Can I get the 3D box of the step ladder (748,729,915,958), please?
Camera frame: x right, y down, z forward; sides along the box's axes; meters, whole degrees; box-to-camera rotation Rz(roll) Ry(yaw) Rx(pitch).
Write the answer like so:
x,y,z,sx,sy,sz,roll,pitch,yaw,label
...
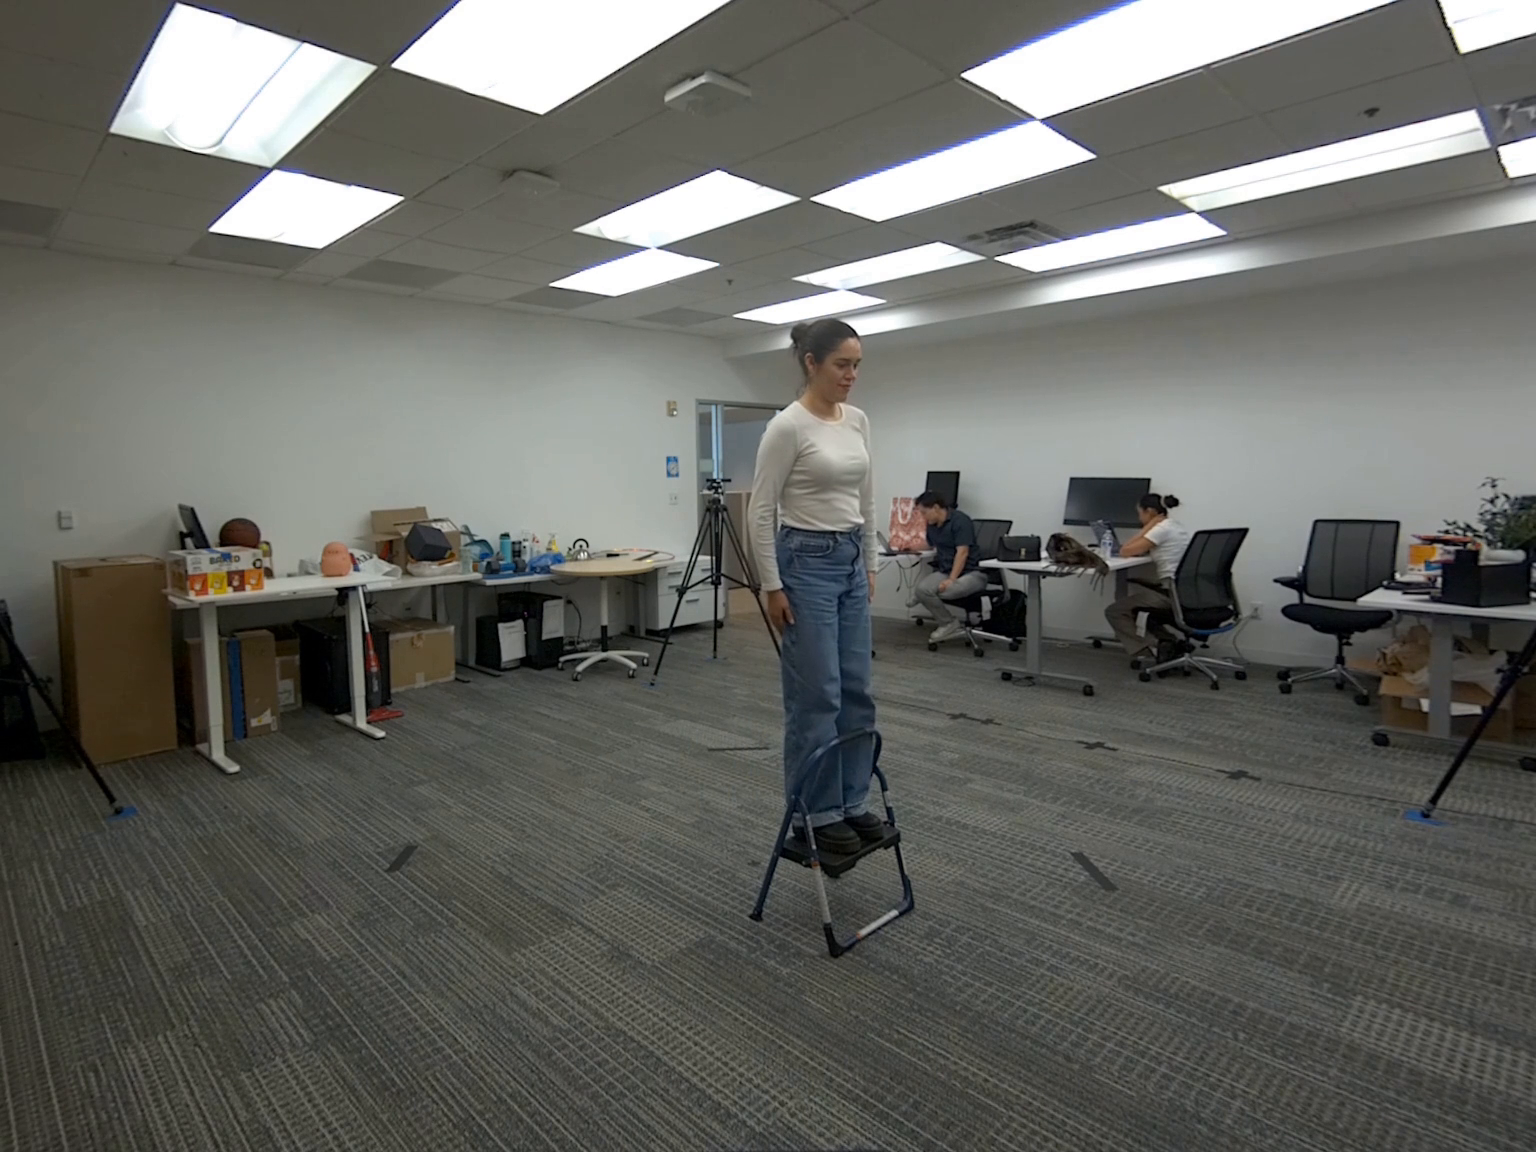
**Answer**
x,y,z,sx,sy,sz,roll,pitch,yaw,label
0.208,0.781,2.725,0.360,0.604,0.419,3,6,44,step ladder
